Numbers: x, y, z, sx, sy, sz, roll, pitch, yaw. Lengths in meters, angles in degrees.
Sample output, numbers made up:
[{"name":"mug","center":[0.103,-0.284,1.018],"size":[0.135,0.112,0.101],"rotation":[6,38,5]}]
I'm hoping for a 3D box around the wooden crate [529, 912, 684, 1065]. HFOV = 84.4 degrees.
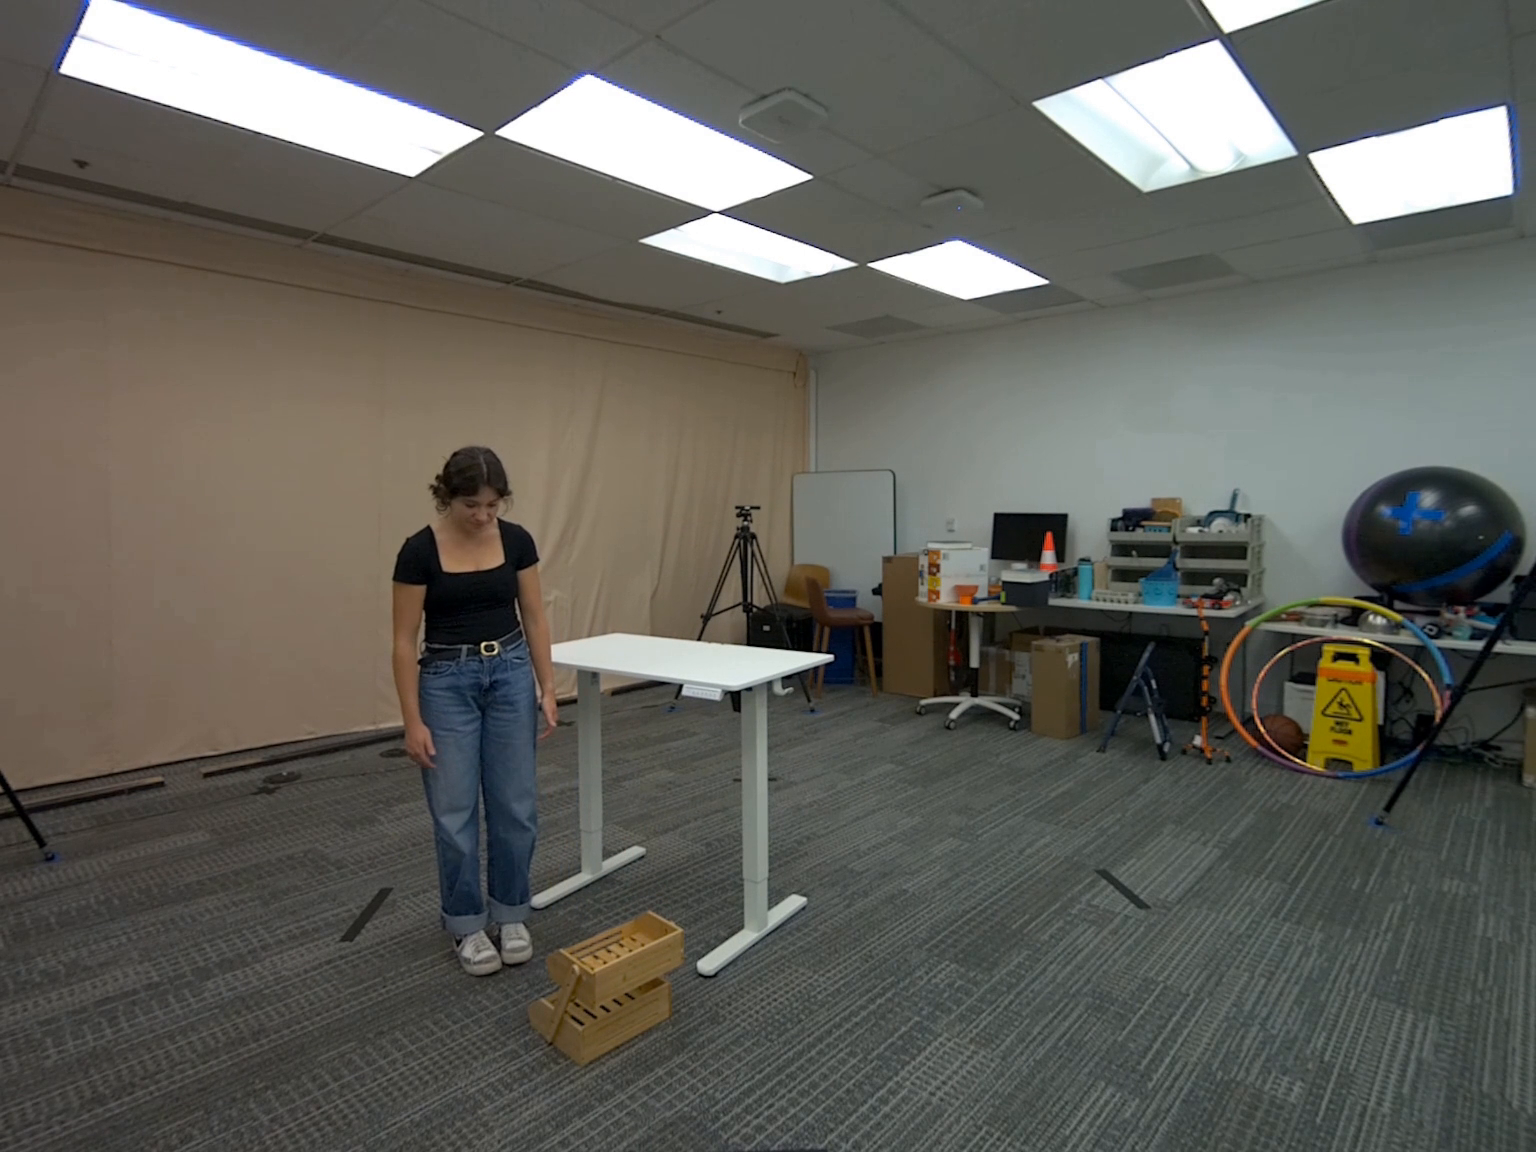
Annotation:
[{"name":"wooden crate","center":[-0.436,1.076,2.254],"size":[0.312,0.273,0.314],"rotation":[4,5,44]}]
